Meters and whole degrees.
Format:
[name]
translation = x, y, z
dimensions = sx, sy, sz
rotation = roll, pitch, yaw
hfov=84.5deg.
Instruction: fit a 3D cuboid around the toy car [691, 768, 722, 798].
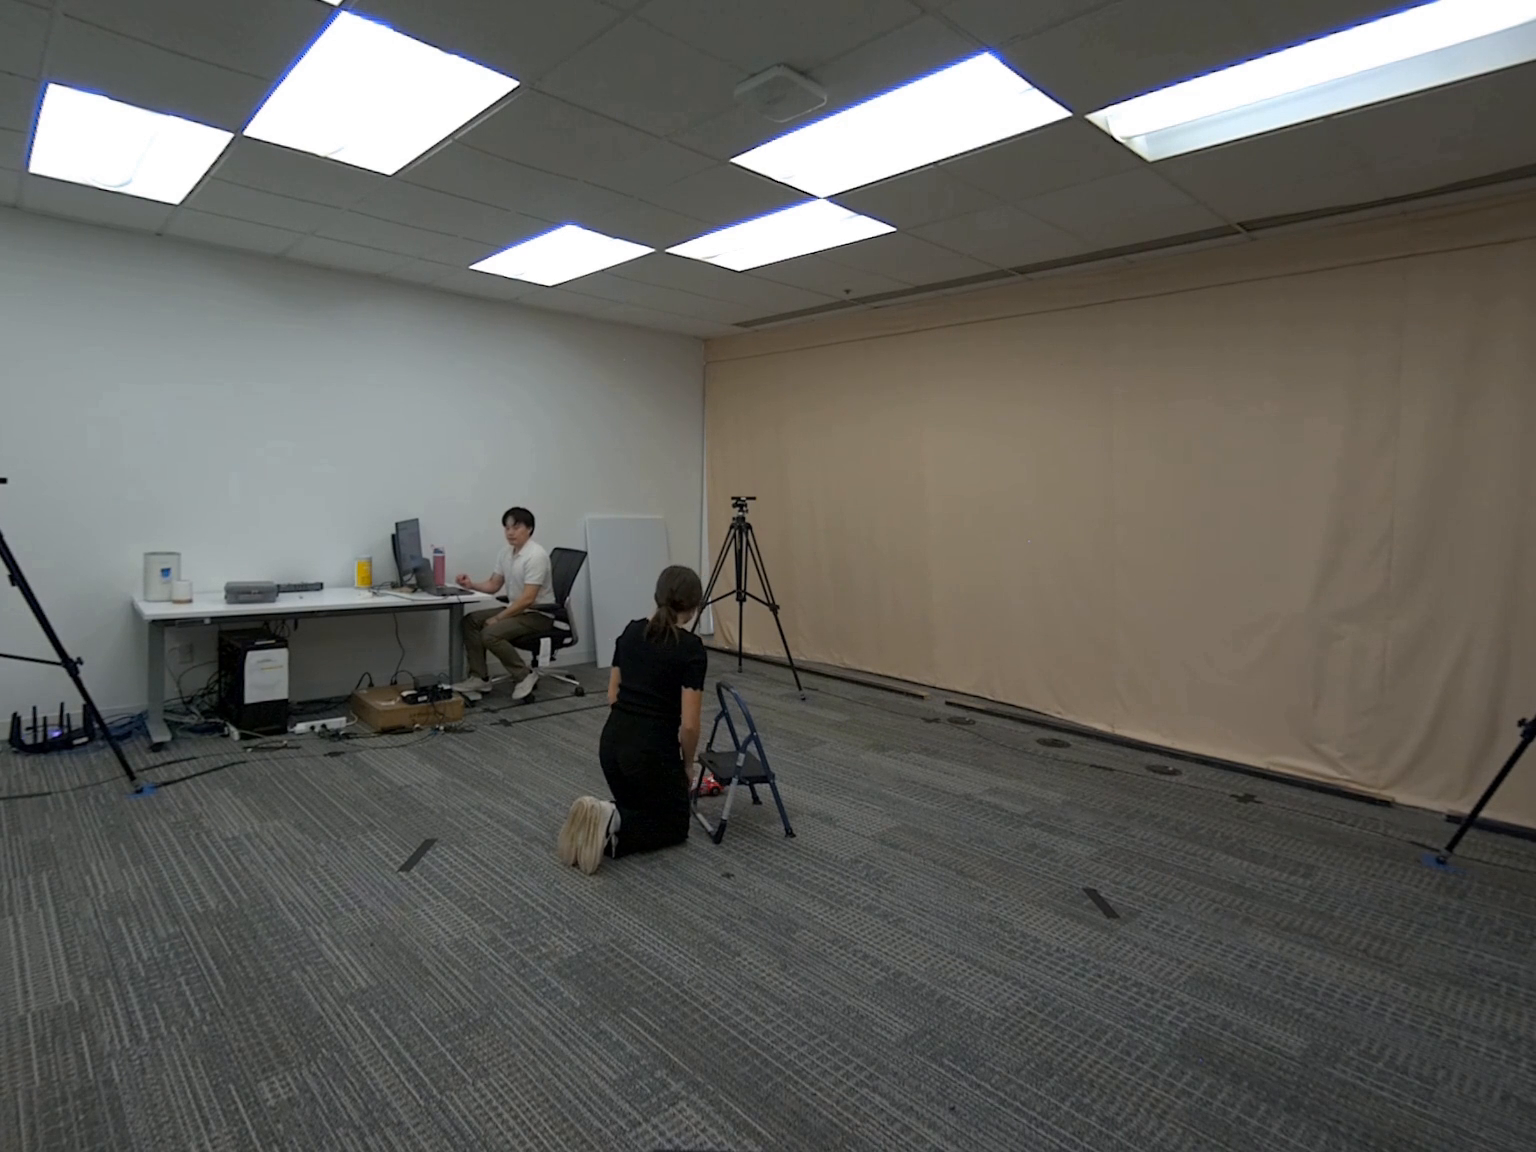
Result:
[toy car]
translation = -0.331, 0.998, 3.966
dimensions = 0.251, 0.083, 0.133
rotation = -13, 8, -24
